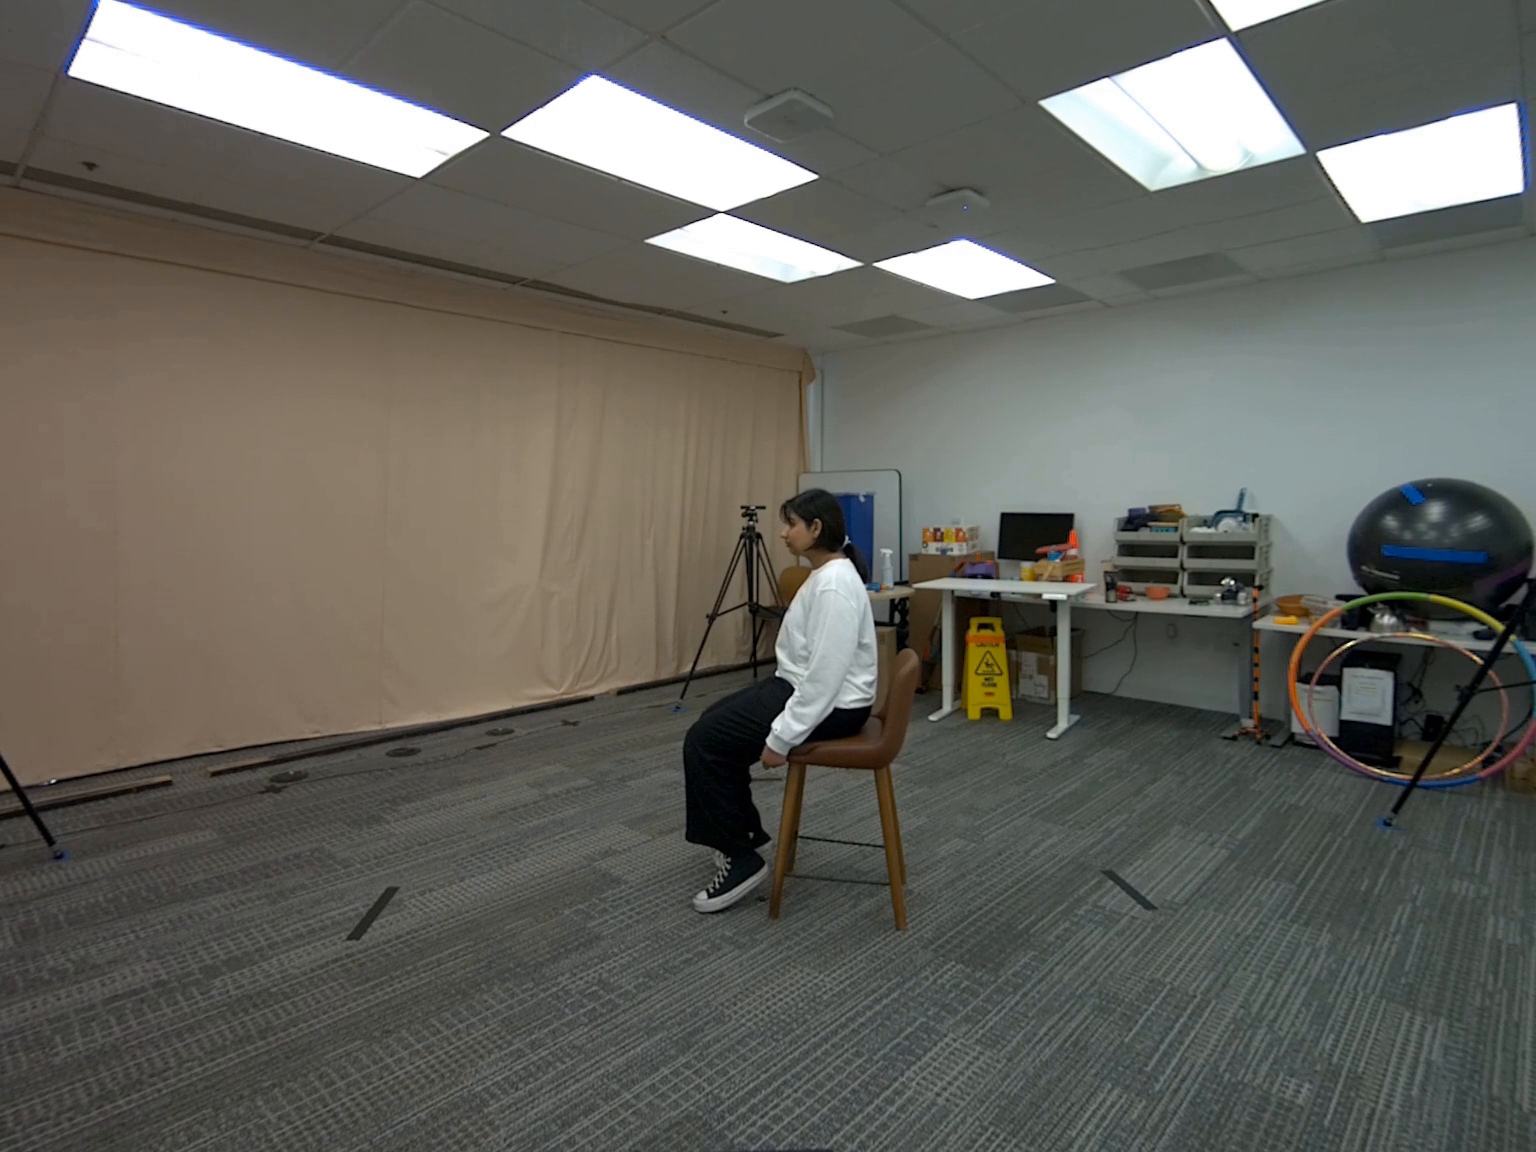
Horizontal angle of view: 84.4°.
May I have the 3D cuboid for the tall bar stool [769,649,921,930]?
[{"bbox_3d":[0.273,0.712,2.954,0.474,0.888,0.451,2,3,11],"label":"tall bar stool"}]
